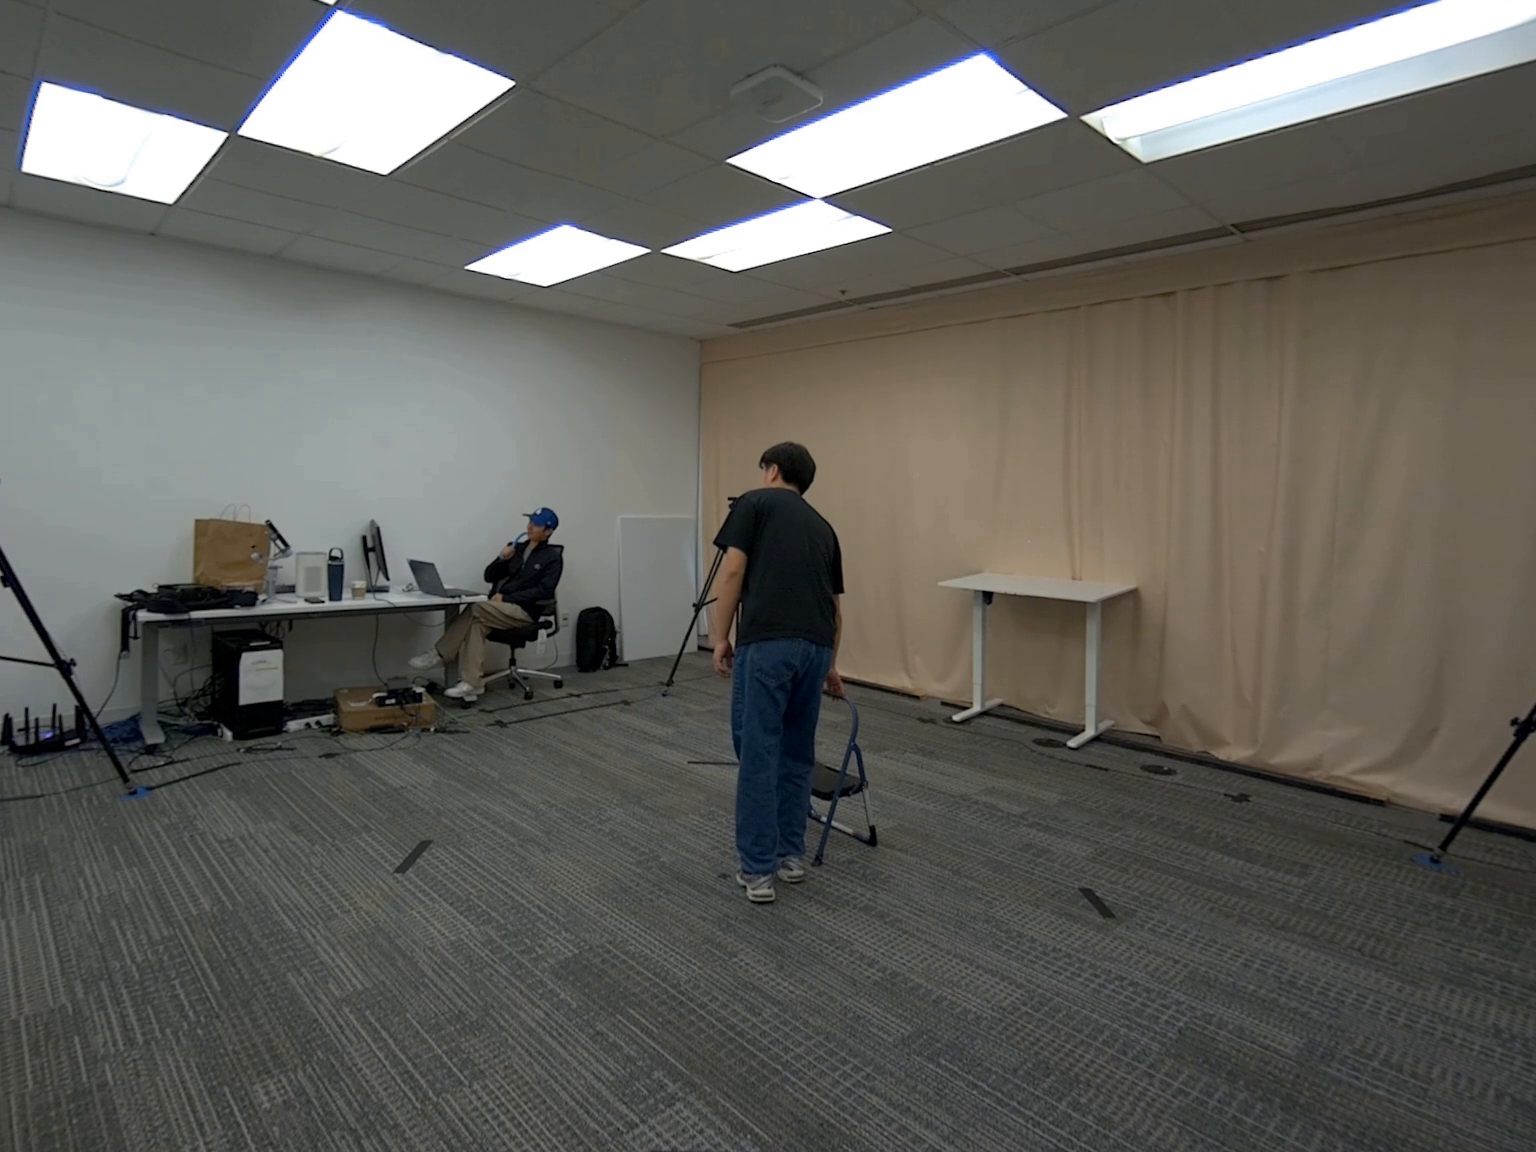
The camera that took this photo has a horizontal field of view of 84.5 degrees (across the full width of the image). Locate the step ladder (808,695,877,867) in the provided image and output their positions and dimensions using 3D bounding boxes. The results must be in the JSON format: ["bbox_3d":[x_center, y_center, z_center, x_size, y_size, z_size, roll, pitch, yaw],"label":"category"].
[{"bbox_3d":[0.190,0.782,3.462,0.341,0.605,0.441,0,4,-38],"label":"step ladder"}]
